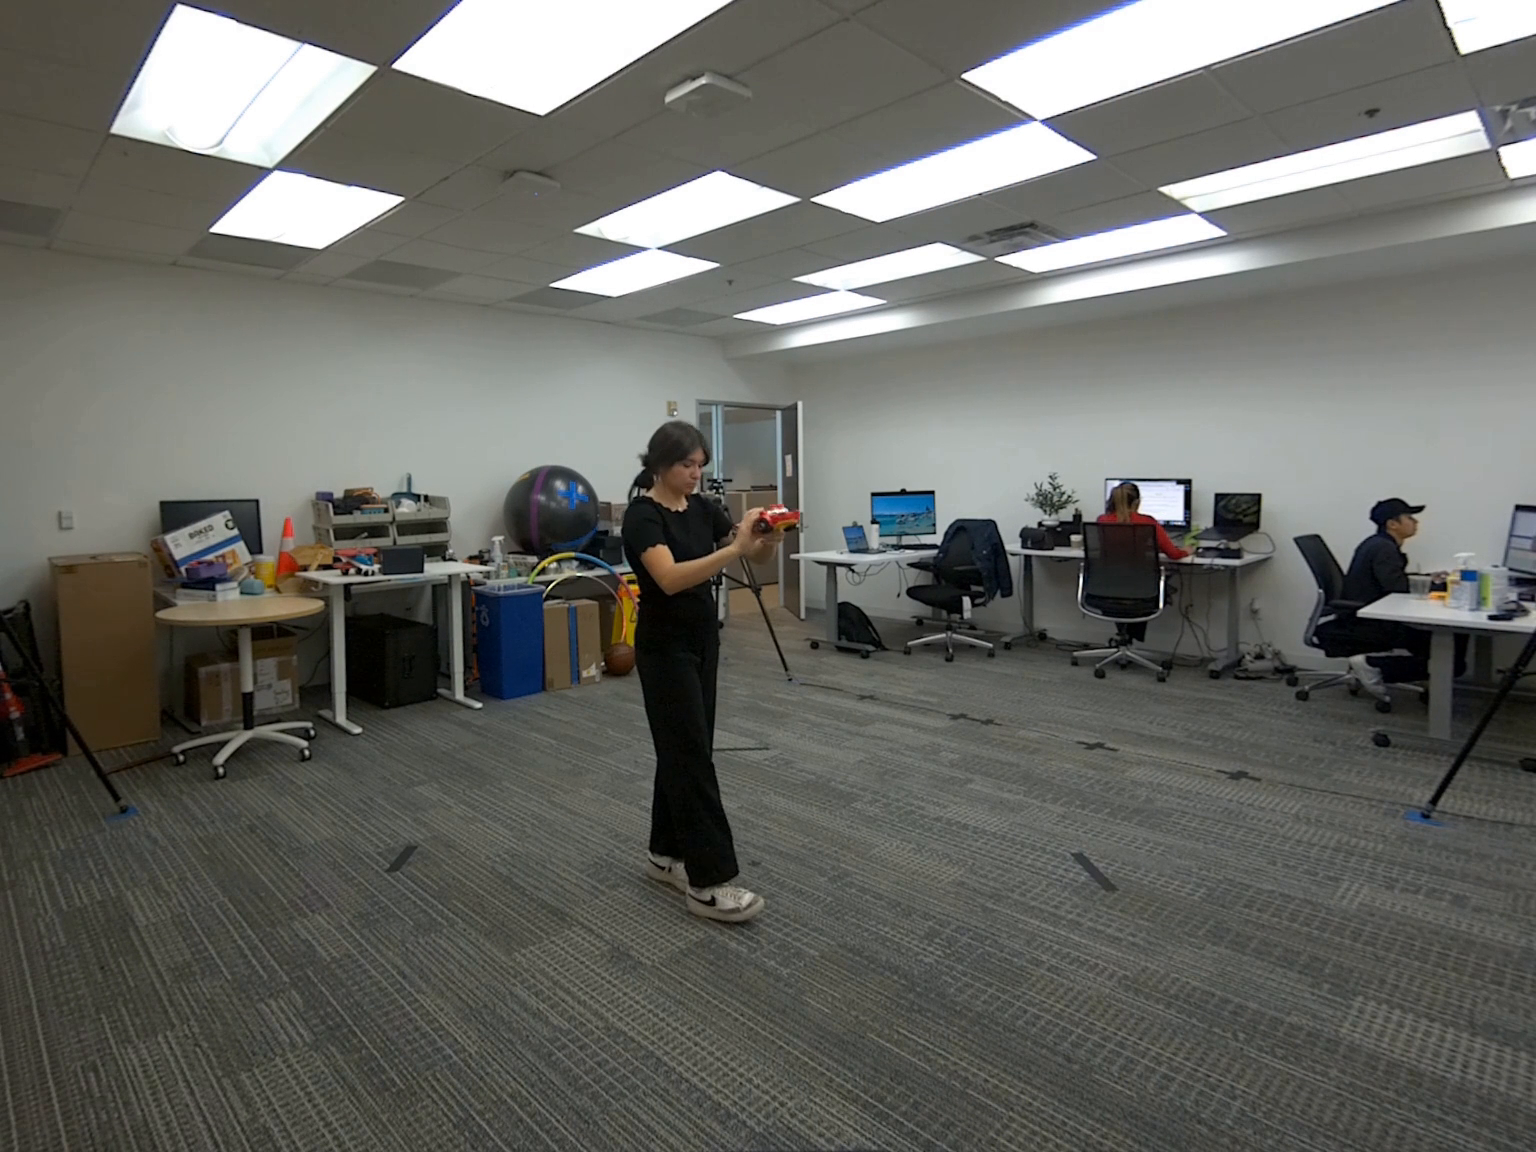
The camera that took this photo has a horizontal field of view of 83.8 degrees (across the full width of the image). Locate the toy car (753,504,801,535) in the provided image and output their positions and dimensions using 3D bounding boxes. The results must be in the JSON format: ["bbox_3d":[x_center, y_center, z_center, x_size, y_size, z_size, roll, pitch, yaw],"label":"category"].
[{"bbox_3d":[-0.003,-0.158,2.621,0.127,0.084,0.257,-5,-14,-36],"label":"toy car"}]
